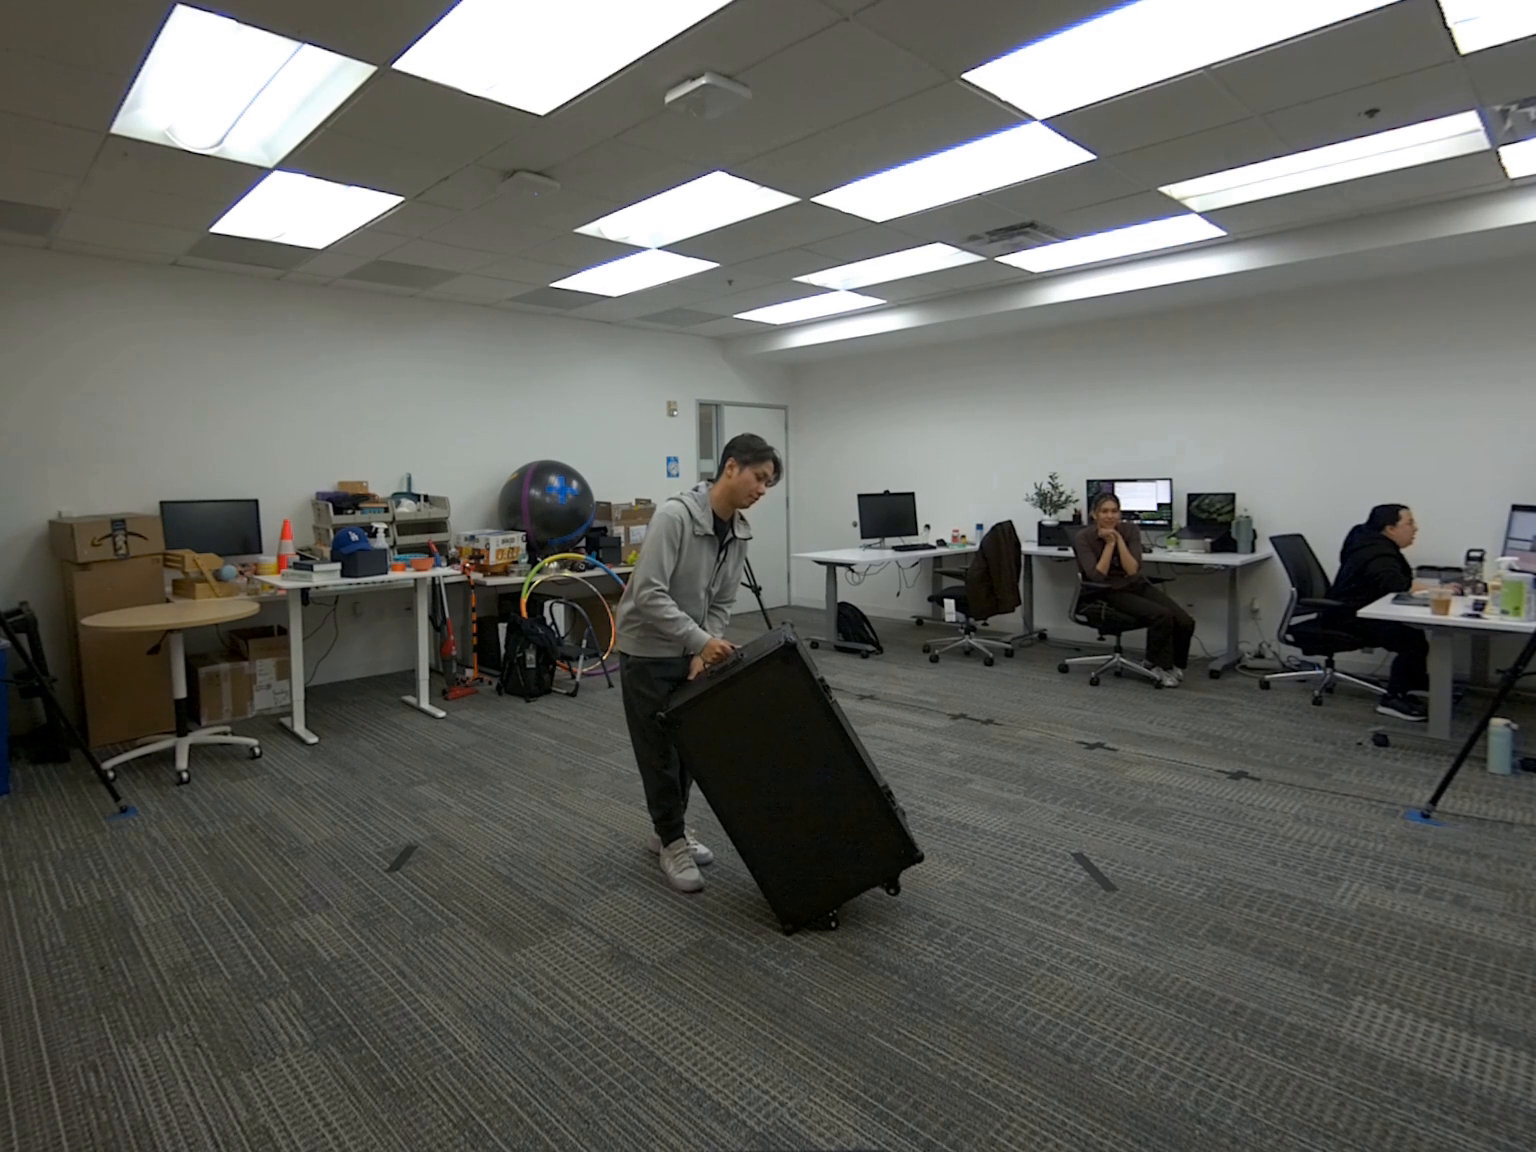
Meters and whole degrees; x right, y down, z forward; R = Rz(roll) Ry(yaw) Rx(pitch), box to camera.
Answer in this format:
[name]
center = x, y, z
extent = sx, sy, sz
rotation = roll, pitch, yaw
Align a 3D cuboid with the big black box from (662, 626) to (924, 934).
[big black box]
center = 0.084, 0.656, 2.766
extent = 0.522, 0.860, 0.396
rotation = -31, 1, 4
